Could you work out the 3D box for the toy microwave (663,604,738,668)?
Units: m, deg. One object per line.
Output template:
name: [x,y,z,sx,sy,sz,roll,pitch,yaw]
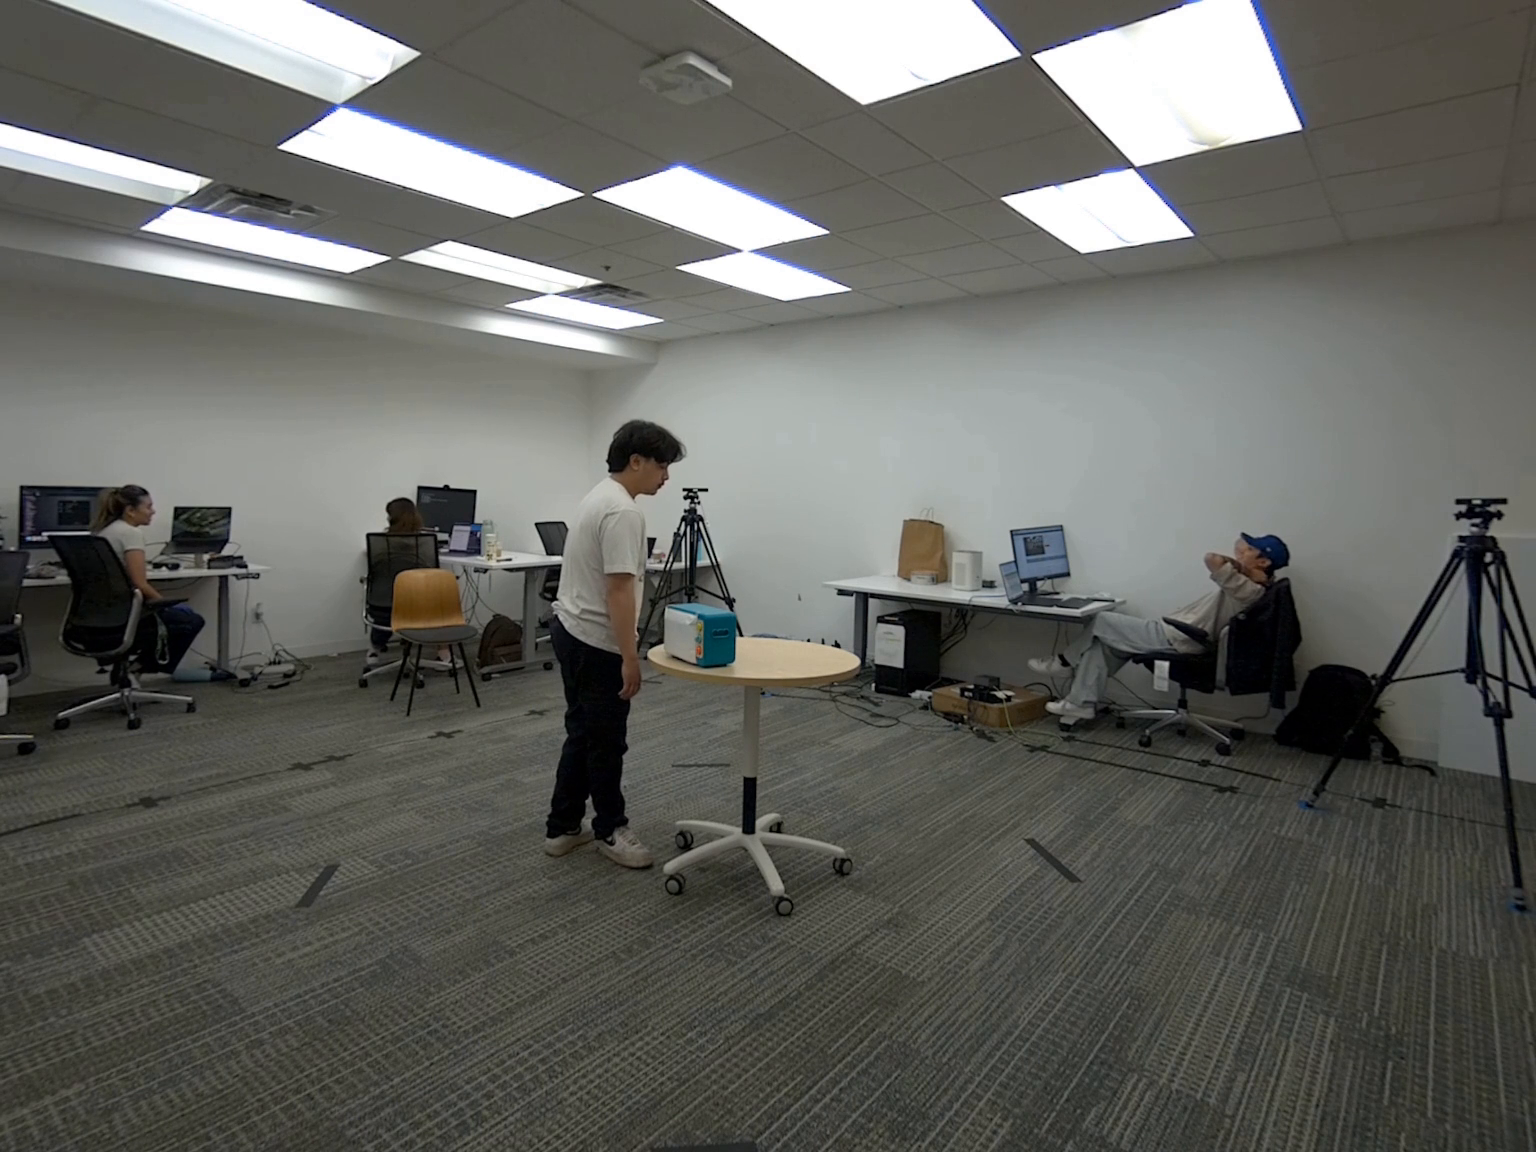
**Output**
toy microwave: [-0.249,0.201,2.943,0.148,0.183,0.295,0,4,-31]
